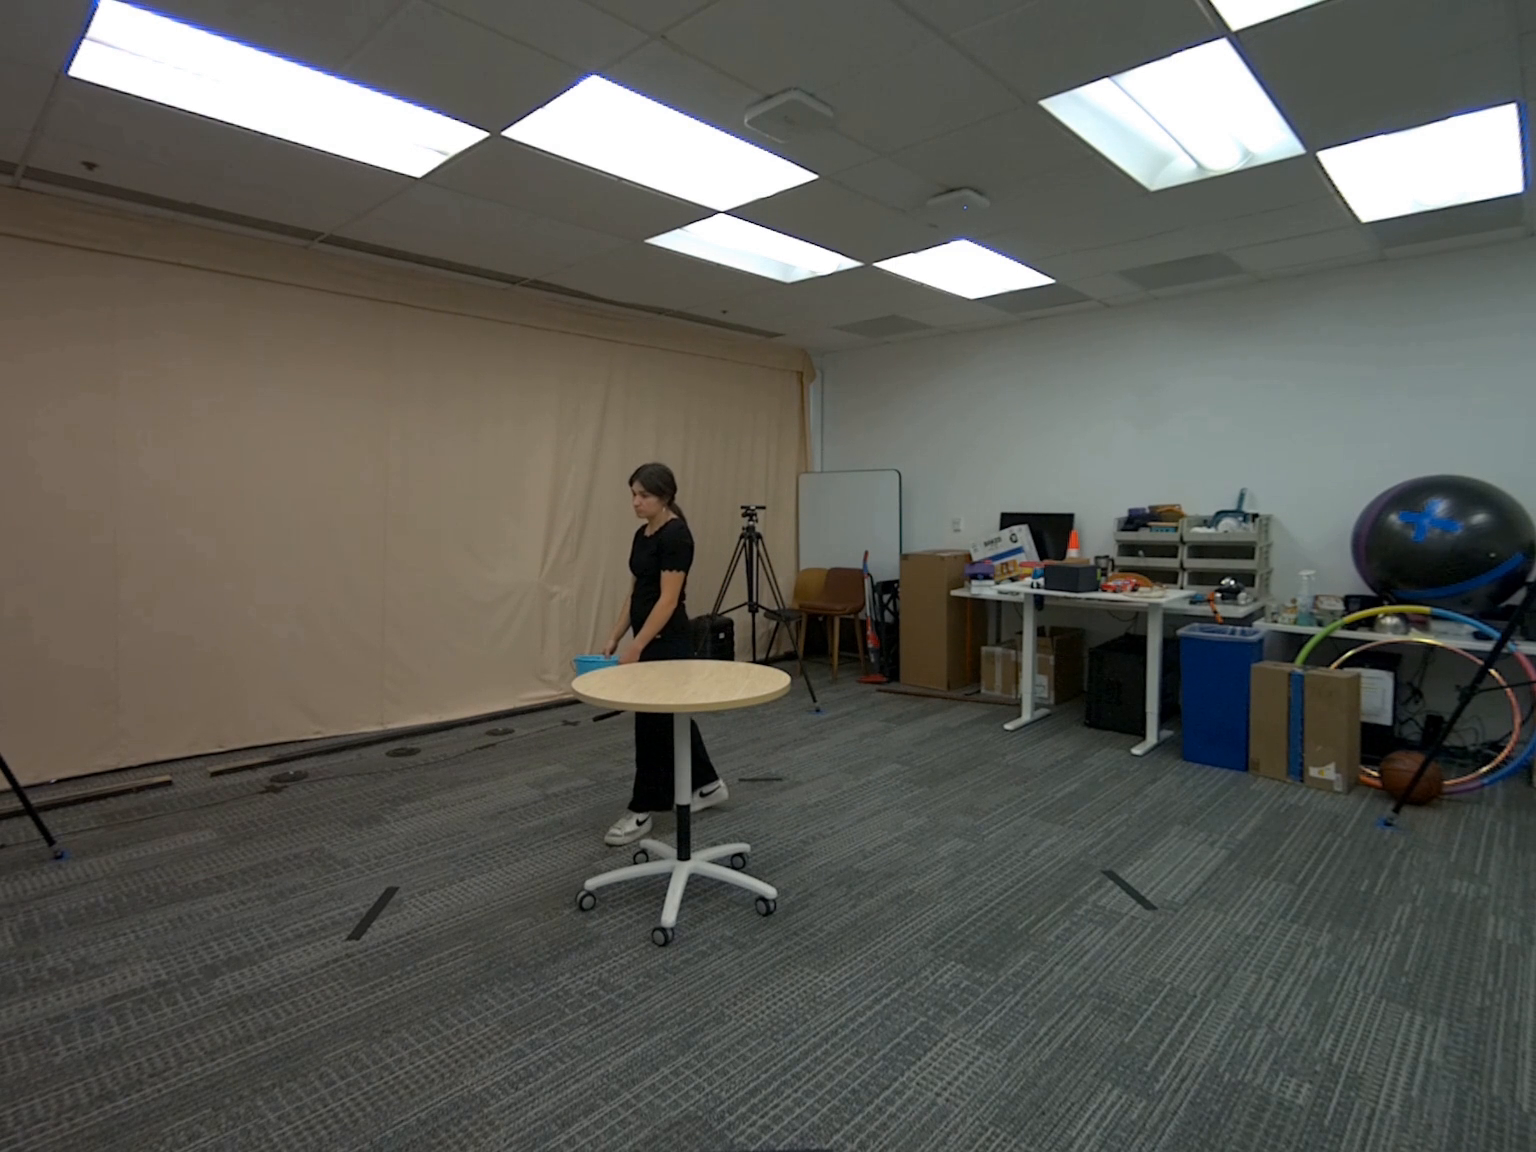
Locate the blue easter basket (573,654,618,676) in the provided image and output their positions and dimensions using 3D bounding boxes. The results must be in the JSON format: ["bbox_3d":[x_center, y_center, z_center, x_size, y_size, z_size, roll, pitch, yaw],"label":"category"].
[{"bbox_3d":[-0.695,0.425,3.562,0.243,0.156,0.243,1,-2,-2],"label":"blue easter basket"}]
